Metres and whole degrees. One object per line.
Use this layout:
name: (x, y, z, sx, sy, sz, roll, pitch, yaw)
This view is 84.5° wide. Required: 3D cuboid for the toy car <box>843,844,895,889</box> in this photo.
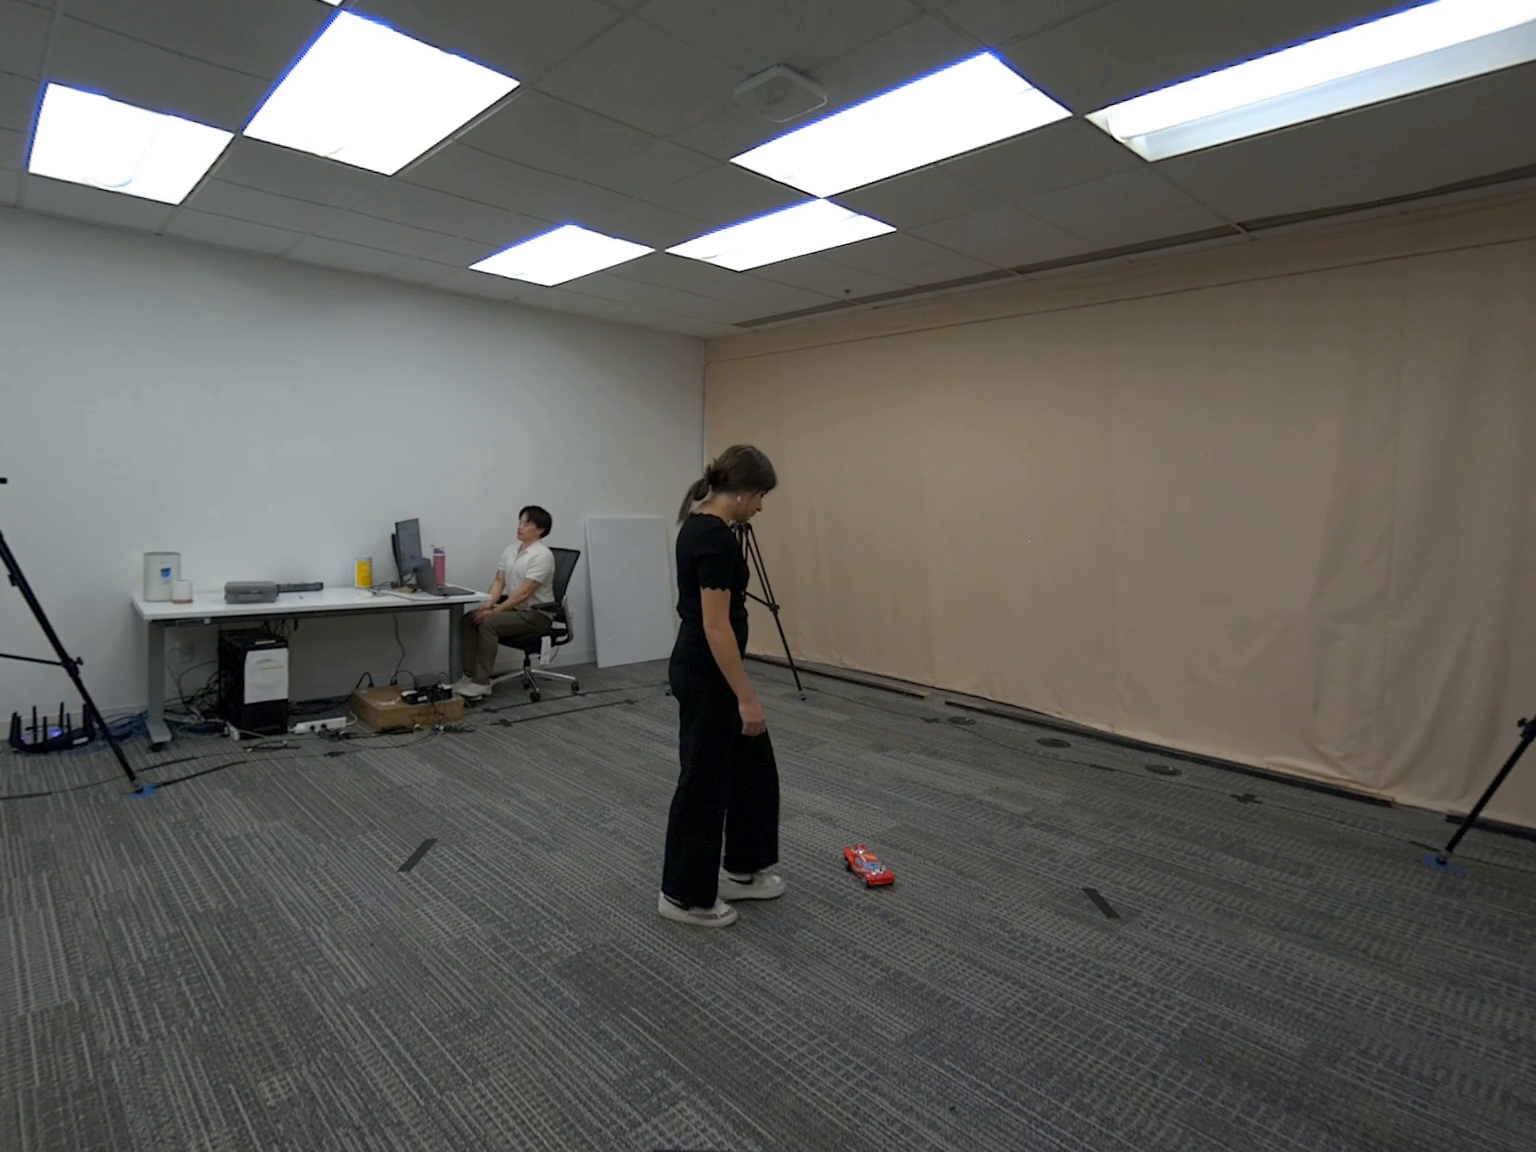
toy car: (0.360, 1.081, 3.138, 0.128, 0.082, 0.260, 1, 16, -19)
